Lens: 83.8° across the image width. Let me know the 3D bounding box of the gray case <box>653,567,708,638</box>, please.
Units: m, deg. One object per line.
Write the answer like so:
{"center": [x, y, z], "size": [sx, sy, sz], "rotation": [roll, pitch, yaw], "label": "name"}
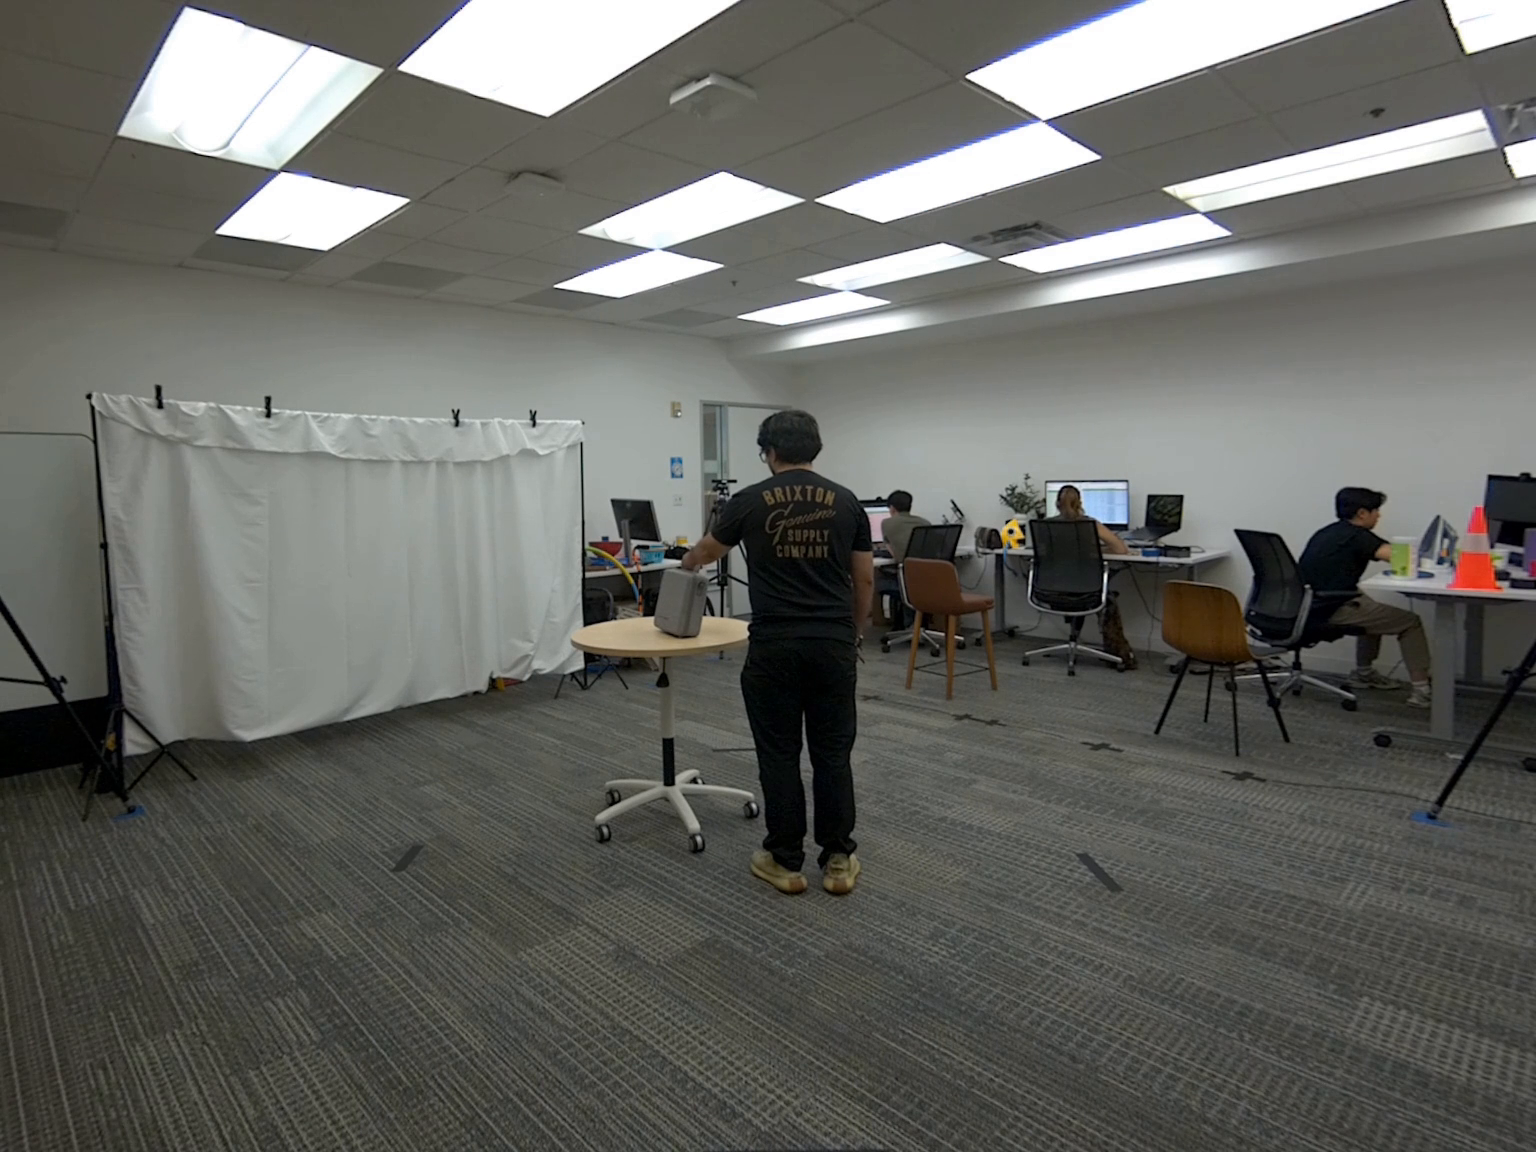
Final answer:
{"center": [-0.350, 0.101, 3.445], "size": [0.101, 0.261, 0.264], "rotation": [10, -2, -29], "label": "gray case"}
